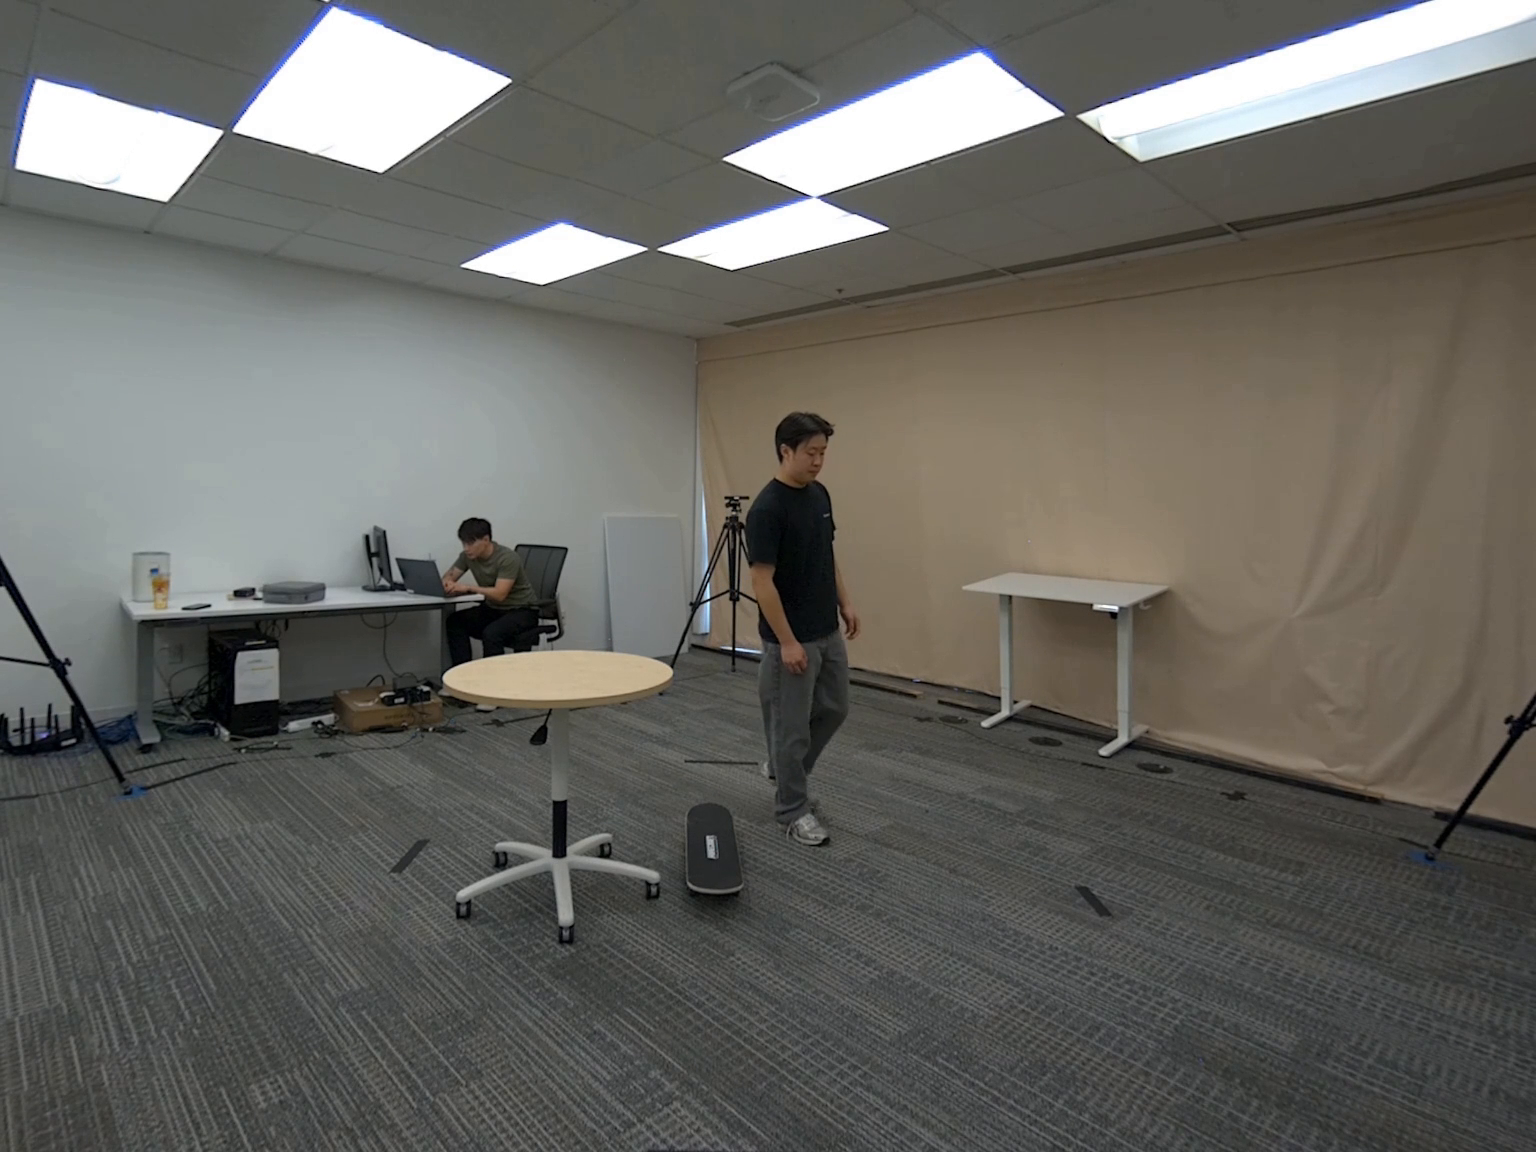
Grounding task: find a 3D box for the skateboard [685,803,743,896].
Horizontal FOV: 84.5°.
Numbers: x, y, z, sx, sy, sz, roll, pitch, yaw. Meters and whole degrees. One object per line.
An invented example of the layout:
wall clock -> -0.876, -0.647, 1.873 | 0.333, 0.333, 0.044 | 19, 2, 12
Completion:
skateboard -> -0.216, 1.041, 3.144 | 0.192, 0.110, 0.791 | 0, 6, -6
